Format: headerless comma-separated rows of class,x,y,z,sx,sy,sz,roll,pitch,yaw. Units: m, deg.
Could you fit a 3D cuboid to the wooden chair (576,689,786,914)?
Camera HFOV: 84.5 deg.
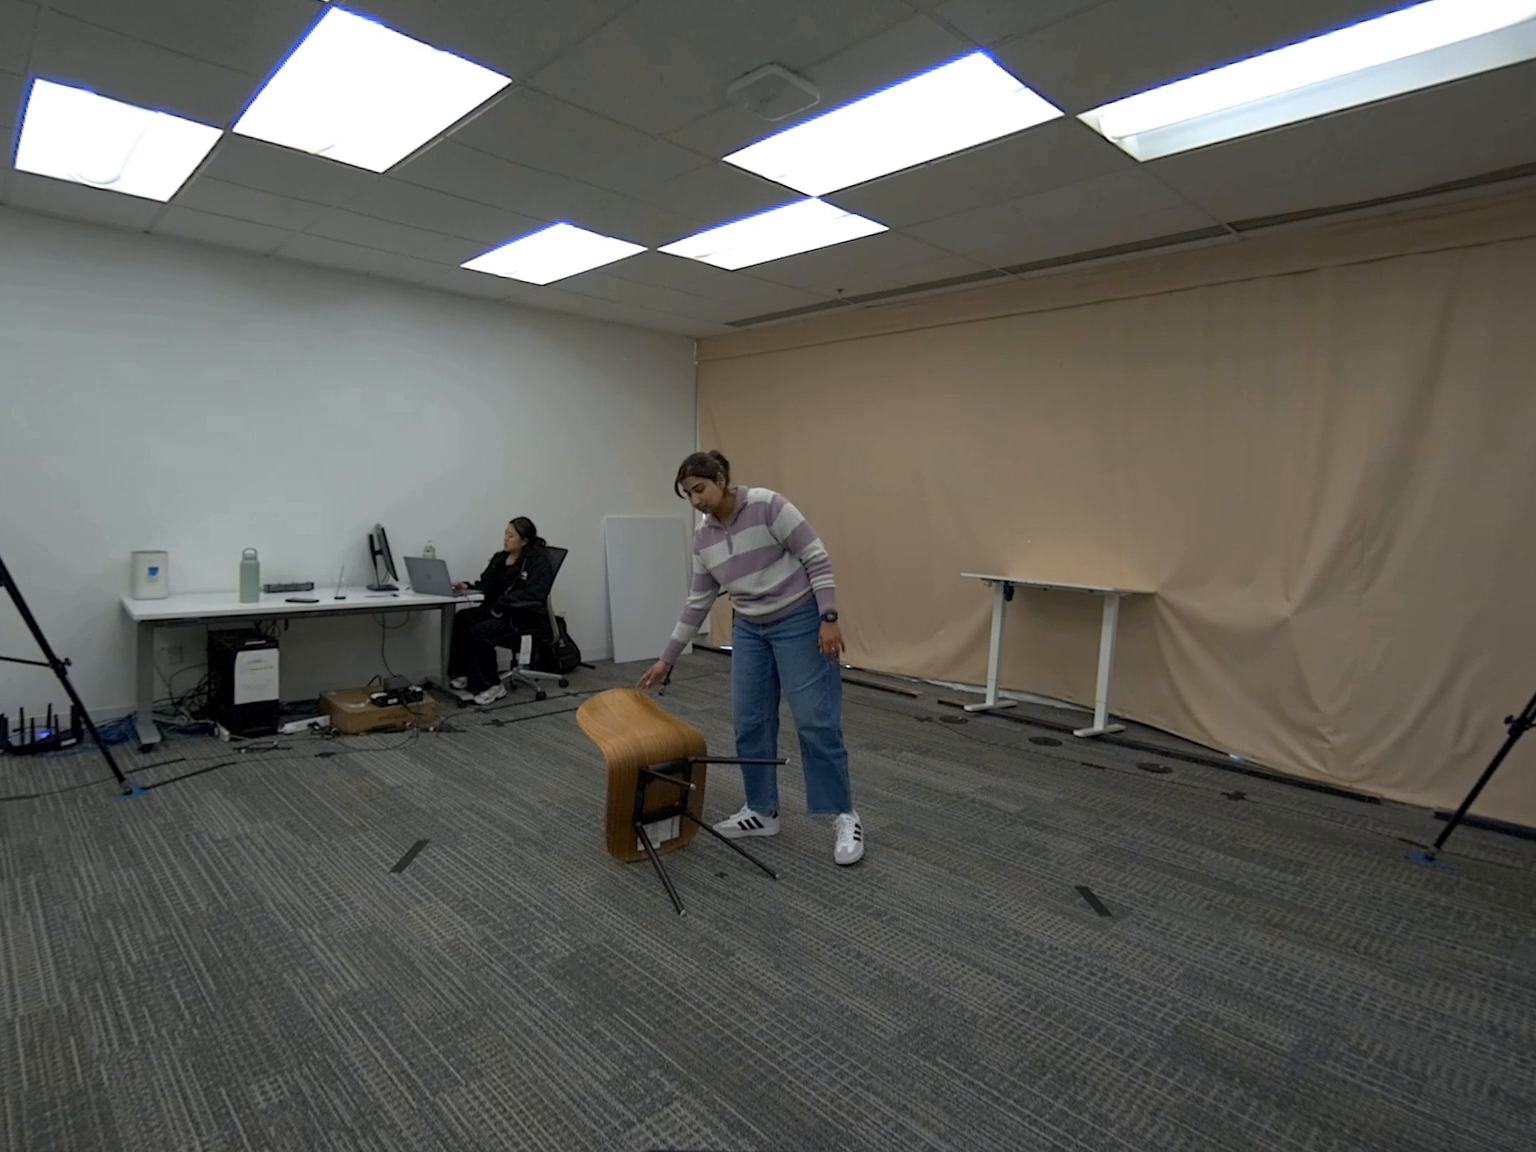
wooden chair,-0.402,0.833,3.227,0.467,0.519,0.903,-3,15,-42
